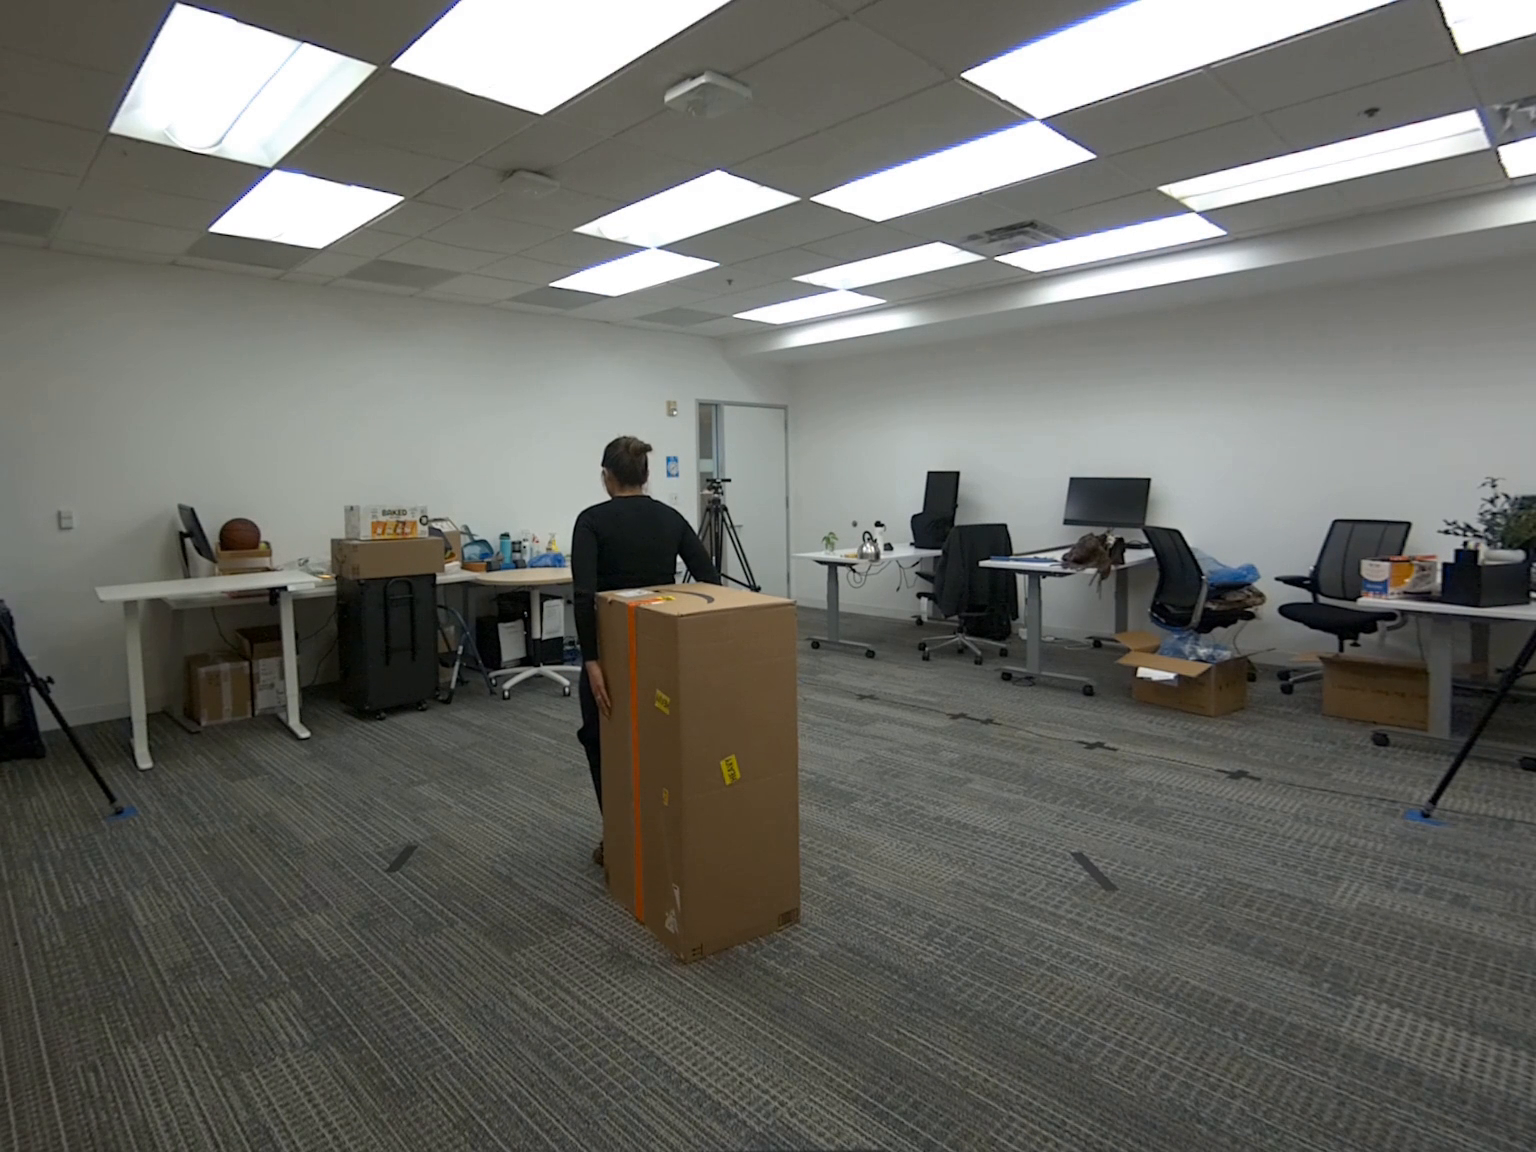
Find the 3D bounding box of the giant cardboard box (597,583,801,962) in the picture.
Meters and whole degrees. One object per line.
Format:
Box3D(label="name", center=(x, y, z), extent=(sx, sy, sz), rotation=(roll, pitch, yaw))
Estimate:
Box3D(label="giant cardboard box", center=(-0.231, 0.576, 2.774), extent=(0.416, 1.021, 0.594), rotation=(-4, 6, -33))
